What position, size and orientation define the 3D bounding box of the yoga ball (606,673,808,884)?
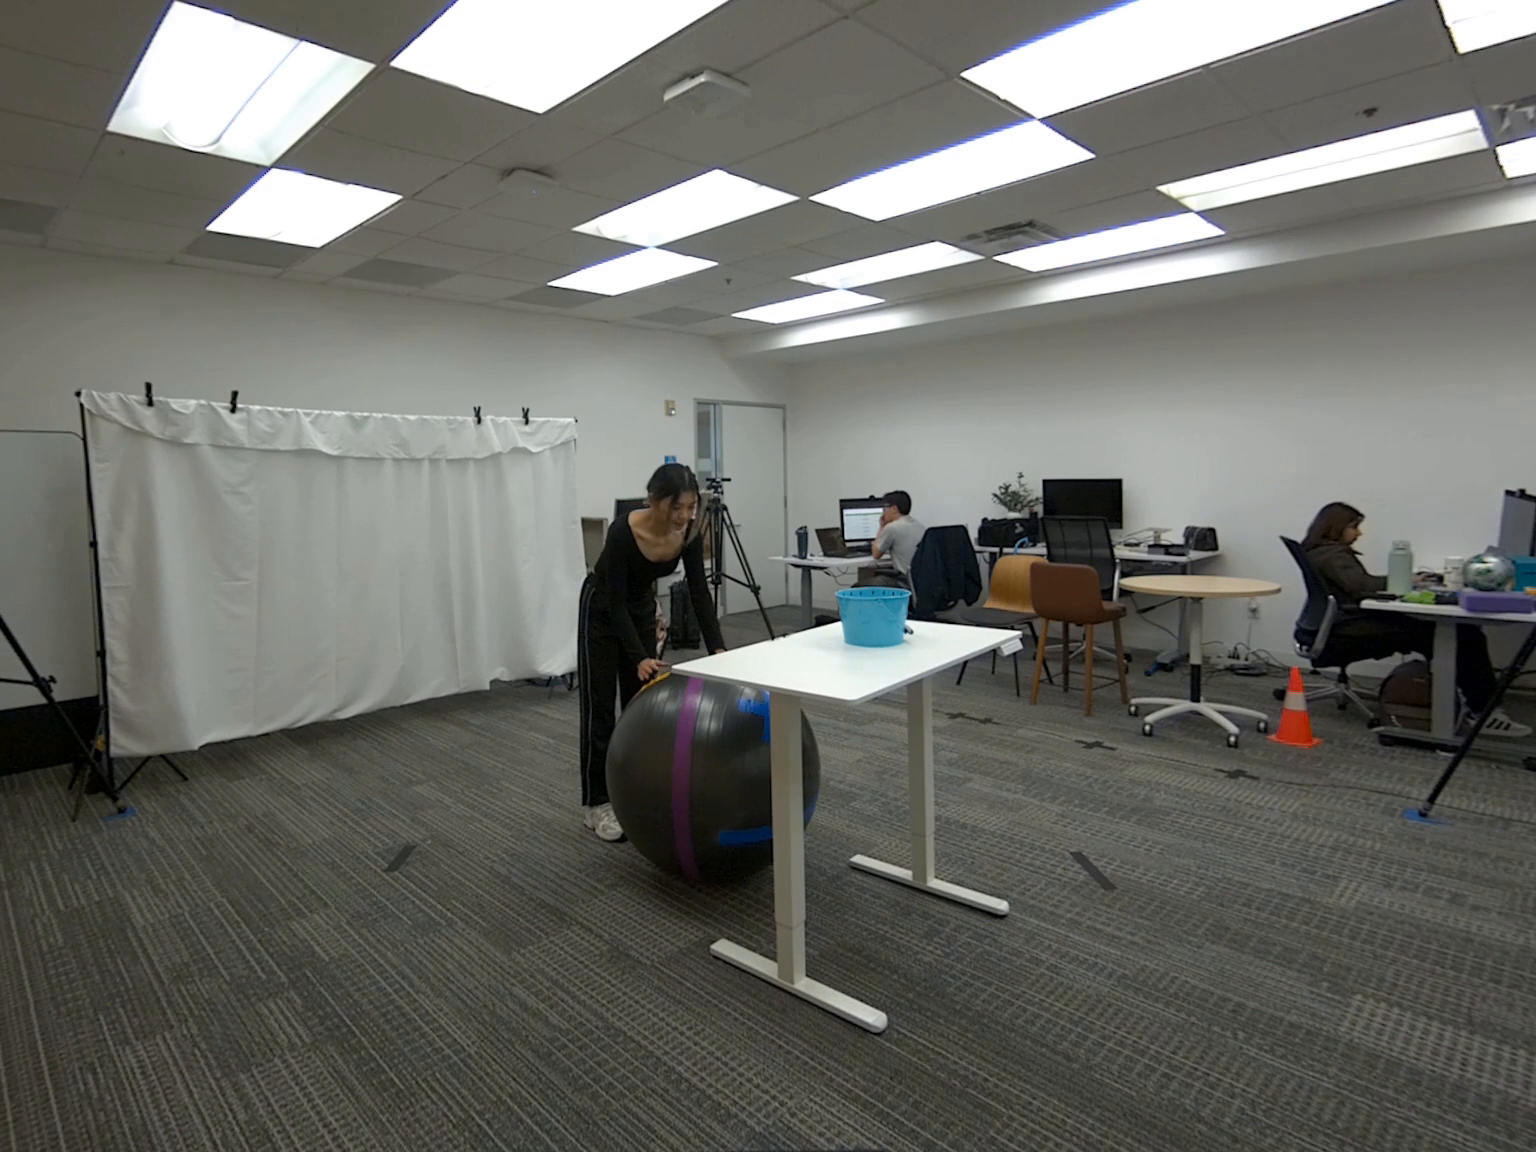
[{"bbox_3d":[-0.196,0.690,3.032,0.757,0.755,0.762,-1,5,-2],"label":"yoga ball"}]
